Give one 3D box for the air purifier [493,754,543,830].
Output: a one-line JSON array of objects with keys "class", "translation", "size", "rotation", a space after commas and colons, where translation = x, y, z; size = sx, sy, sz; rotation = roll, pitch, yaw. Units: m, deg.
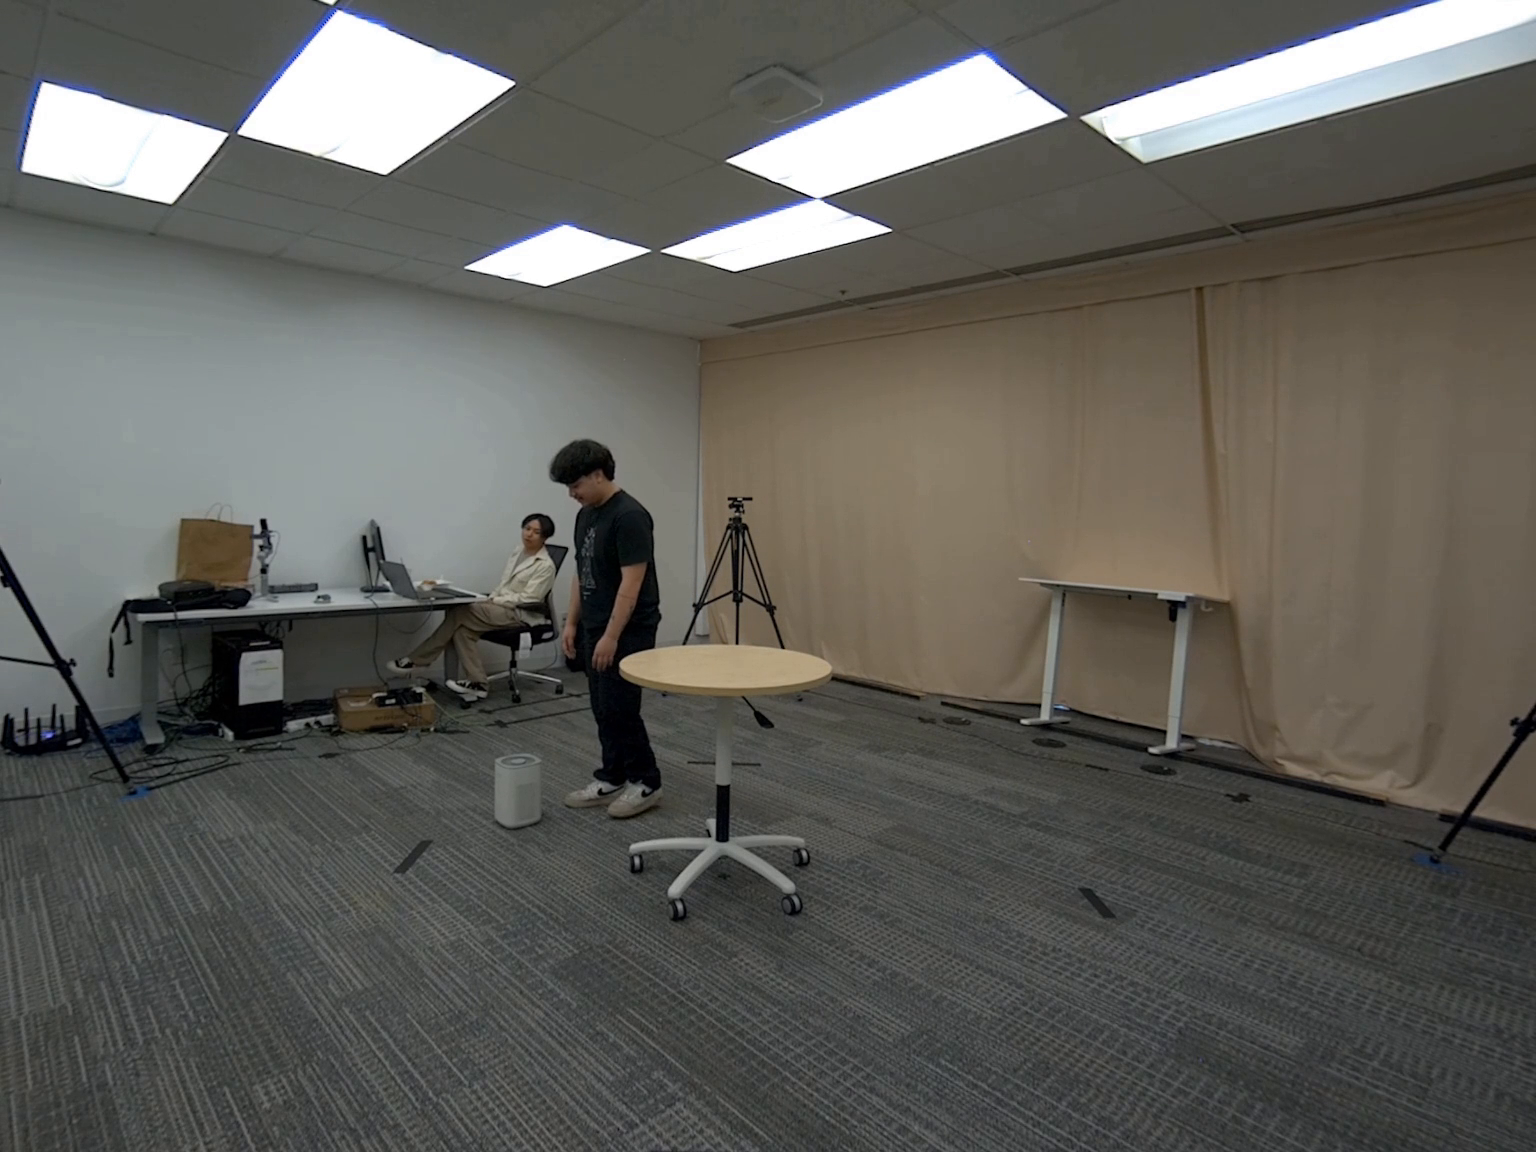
[{"class": "air purifier", "translation": [-1.068, 0.912, 3.570], "size": [0.168, 0.265, 0.175], "rotation": [-2, 5, -42]}]
